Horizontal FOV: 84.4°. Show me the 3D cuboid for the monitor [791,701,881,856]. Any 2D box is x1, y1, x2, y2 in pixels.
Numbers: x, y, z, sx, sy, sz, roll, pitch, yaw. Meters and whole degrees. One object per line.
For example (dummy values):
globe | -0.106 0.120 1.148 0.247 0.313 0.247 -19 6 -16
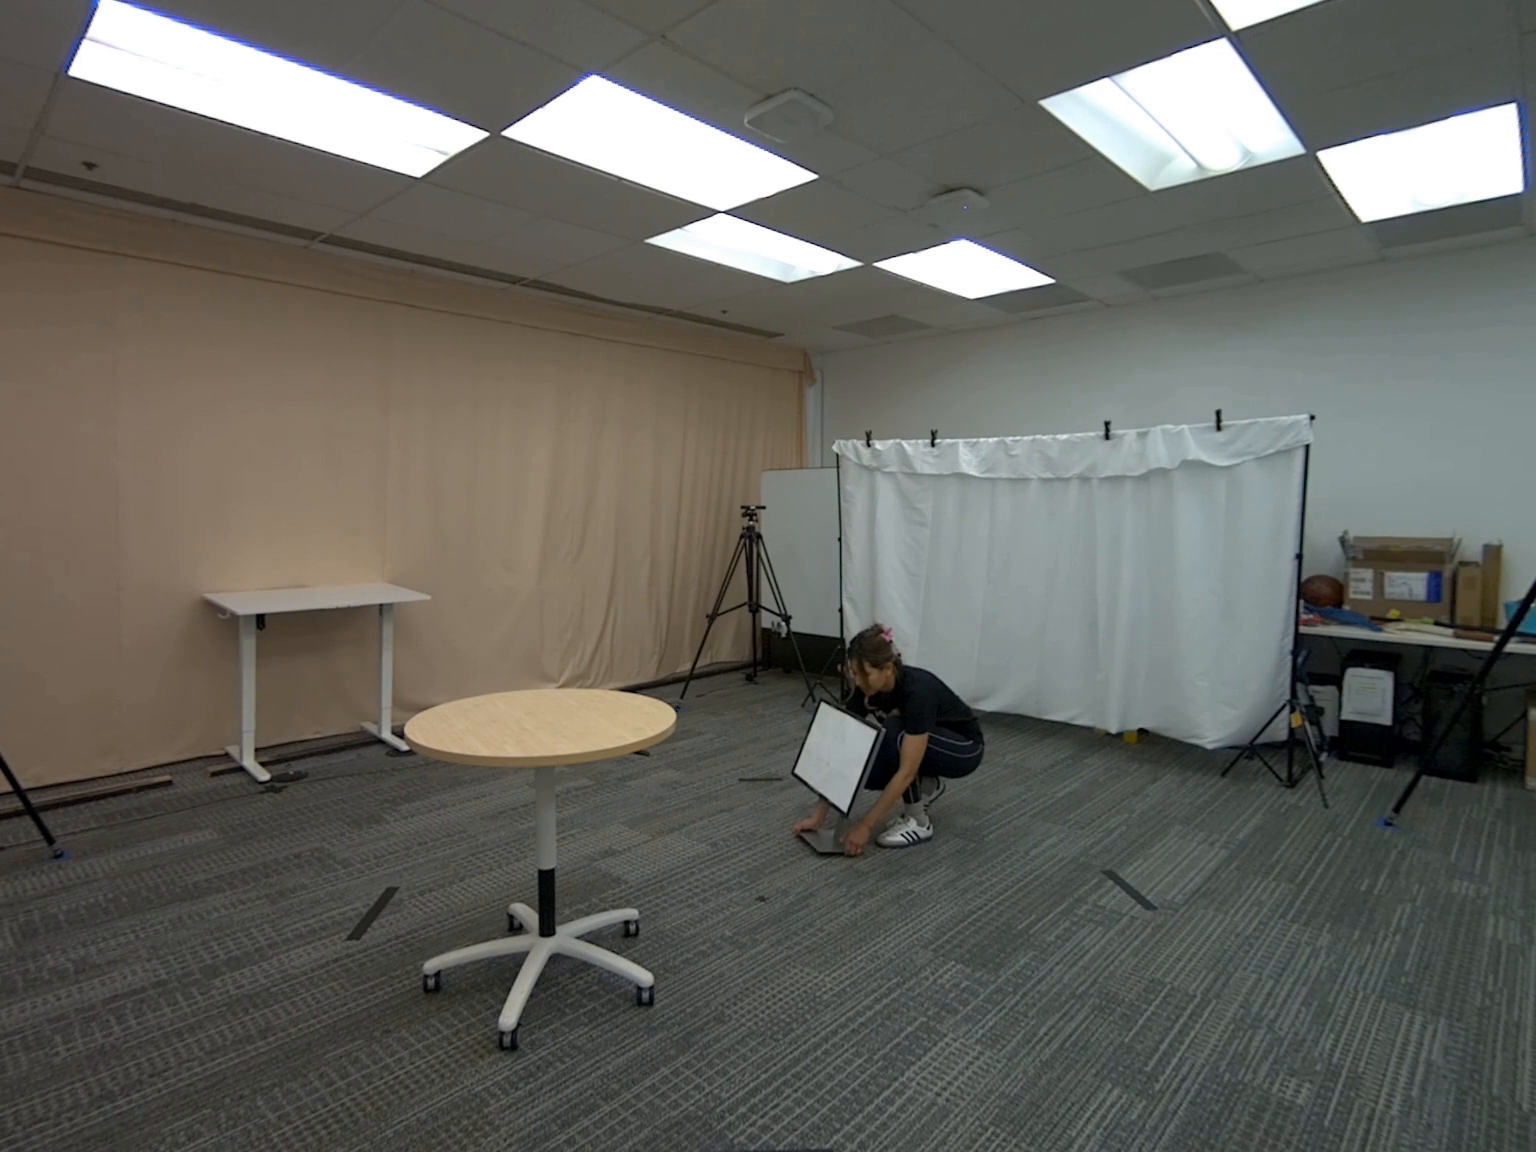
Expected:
monitor | 0.291 0.824 3.449 0.183 0.522 0.551 9 0 -22
